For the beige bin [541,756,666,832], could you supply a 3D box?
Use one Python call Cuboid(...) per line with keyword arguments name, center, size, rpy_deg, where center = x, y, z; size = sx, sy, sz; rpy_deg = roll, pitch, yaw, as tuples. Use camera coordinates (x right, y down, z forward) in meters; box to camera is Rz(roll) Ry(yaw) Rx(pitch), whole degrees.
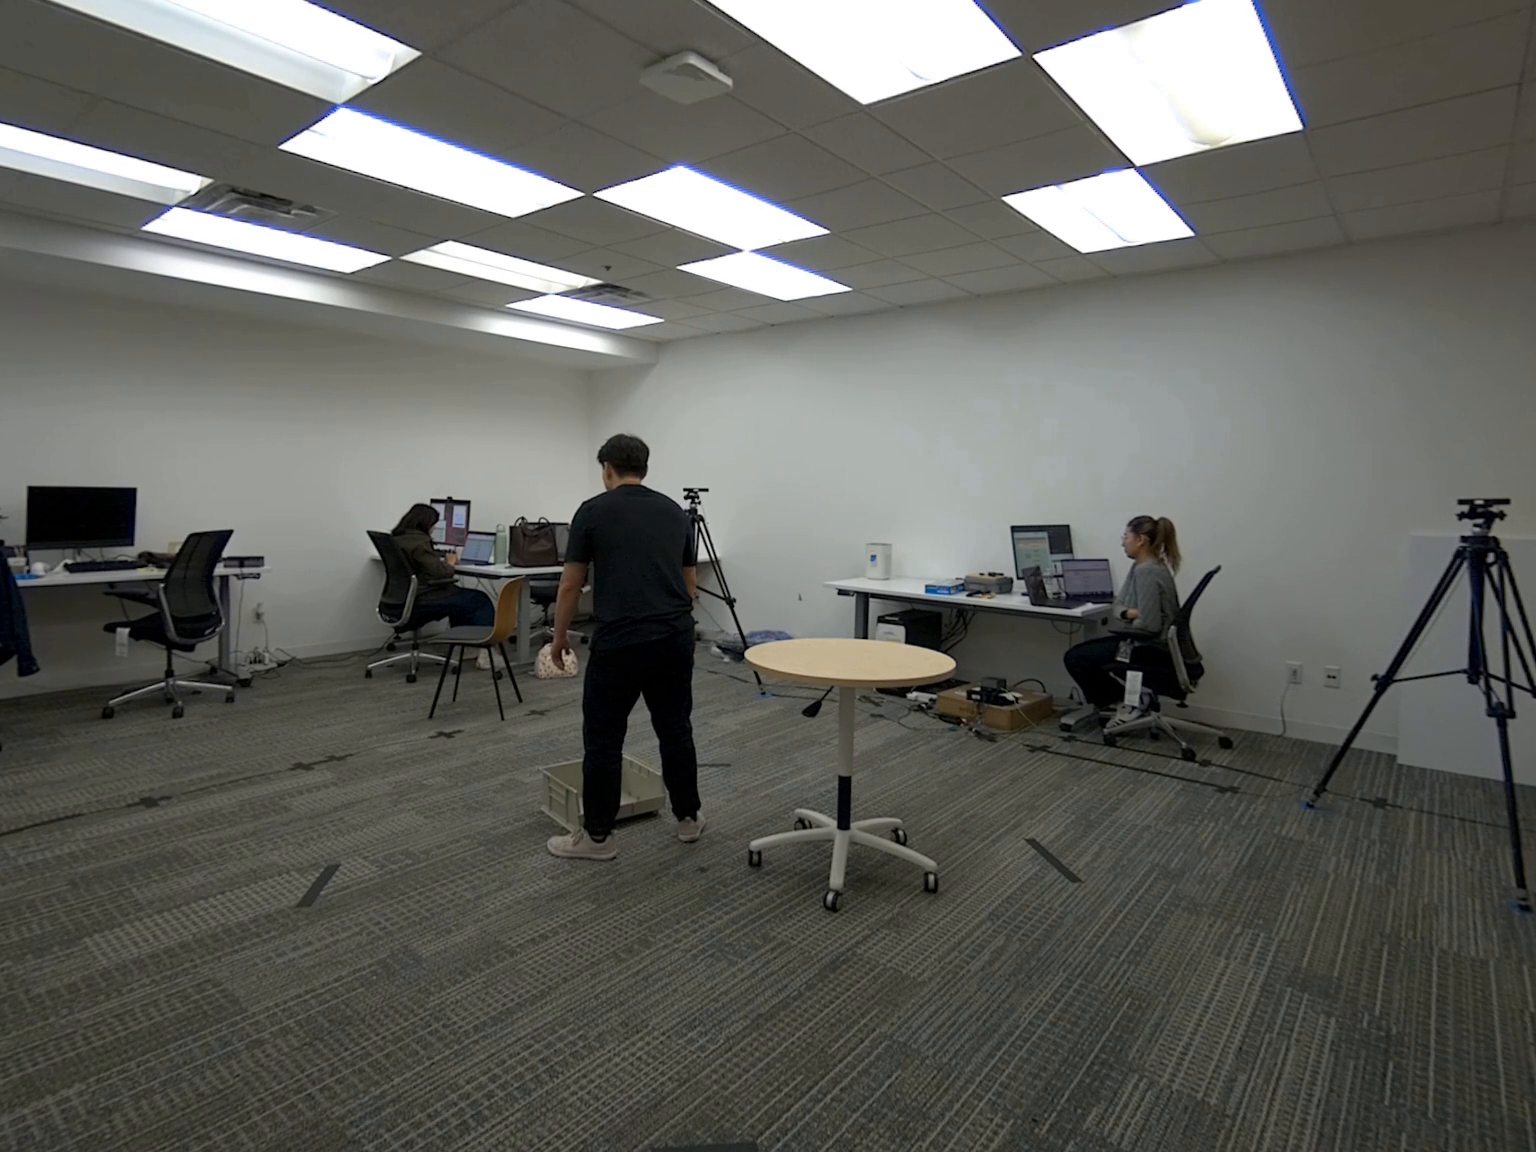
Cuboid(name="beige bin", center=(-0.723, 0.921, 3.642), size=(0.410, 0.188, 0.390), rpy_deg=(-4, 6, -37))
